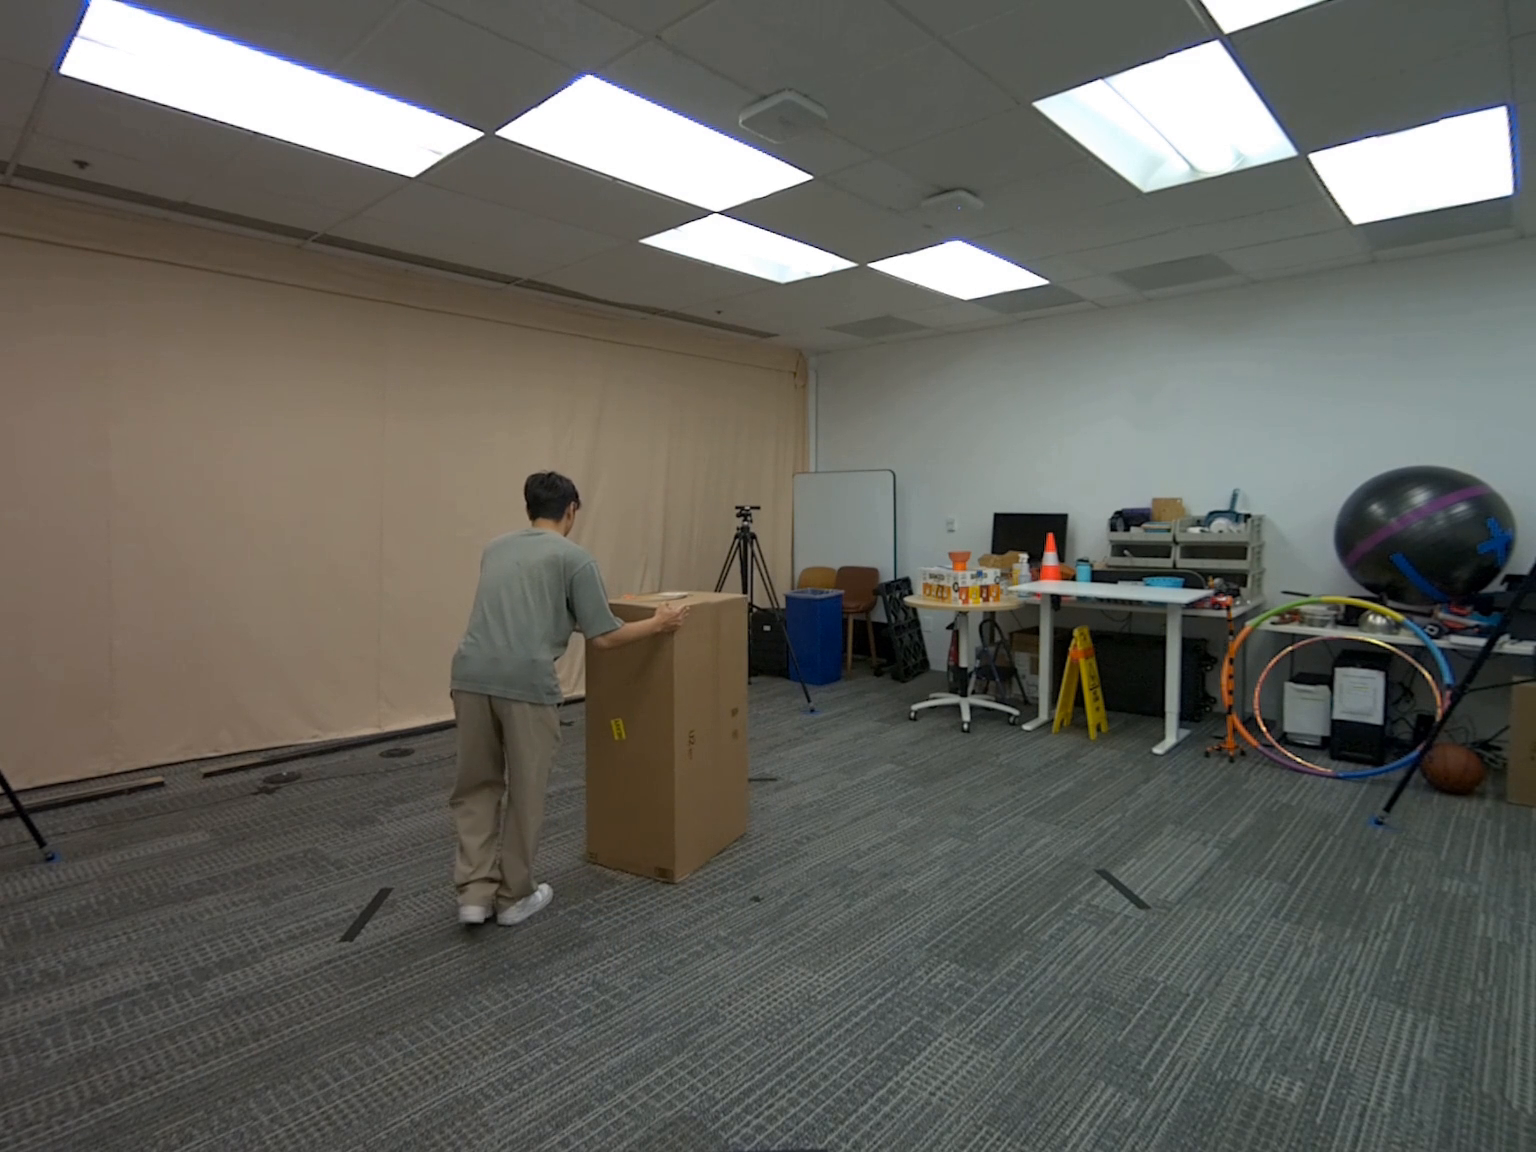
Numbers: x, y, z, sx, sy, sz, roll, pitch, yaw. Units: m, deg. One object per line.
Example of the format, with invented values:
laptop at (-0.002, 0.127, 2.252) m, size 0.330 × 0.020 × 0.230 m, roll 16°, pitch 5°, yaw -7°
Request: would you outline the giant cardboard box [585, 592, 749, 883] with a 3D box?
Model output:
giant cardboard box at (-0.397, 0.602, 3.427) m, size 0.438 × 1.024 × 0.562 m, roll 1°, pitch 3°, yaw 28°
